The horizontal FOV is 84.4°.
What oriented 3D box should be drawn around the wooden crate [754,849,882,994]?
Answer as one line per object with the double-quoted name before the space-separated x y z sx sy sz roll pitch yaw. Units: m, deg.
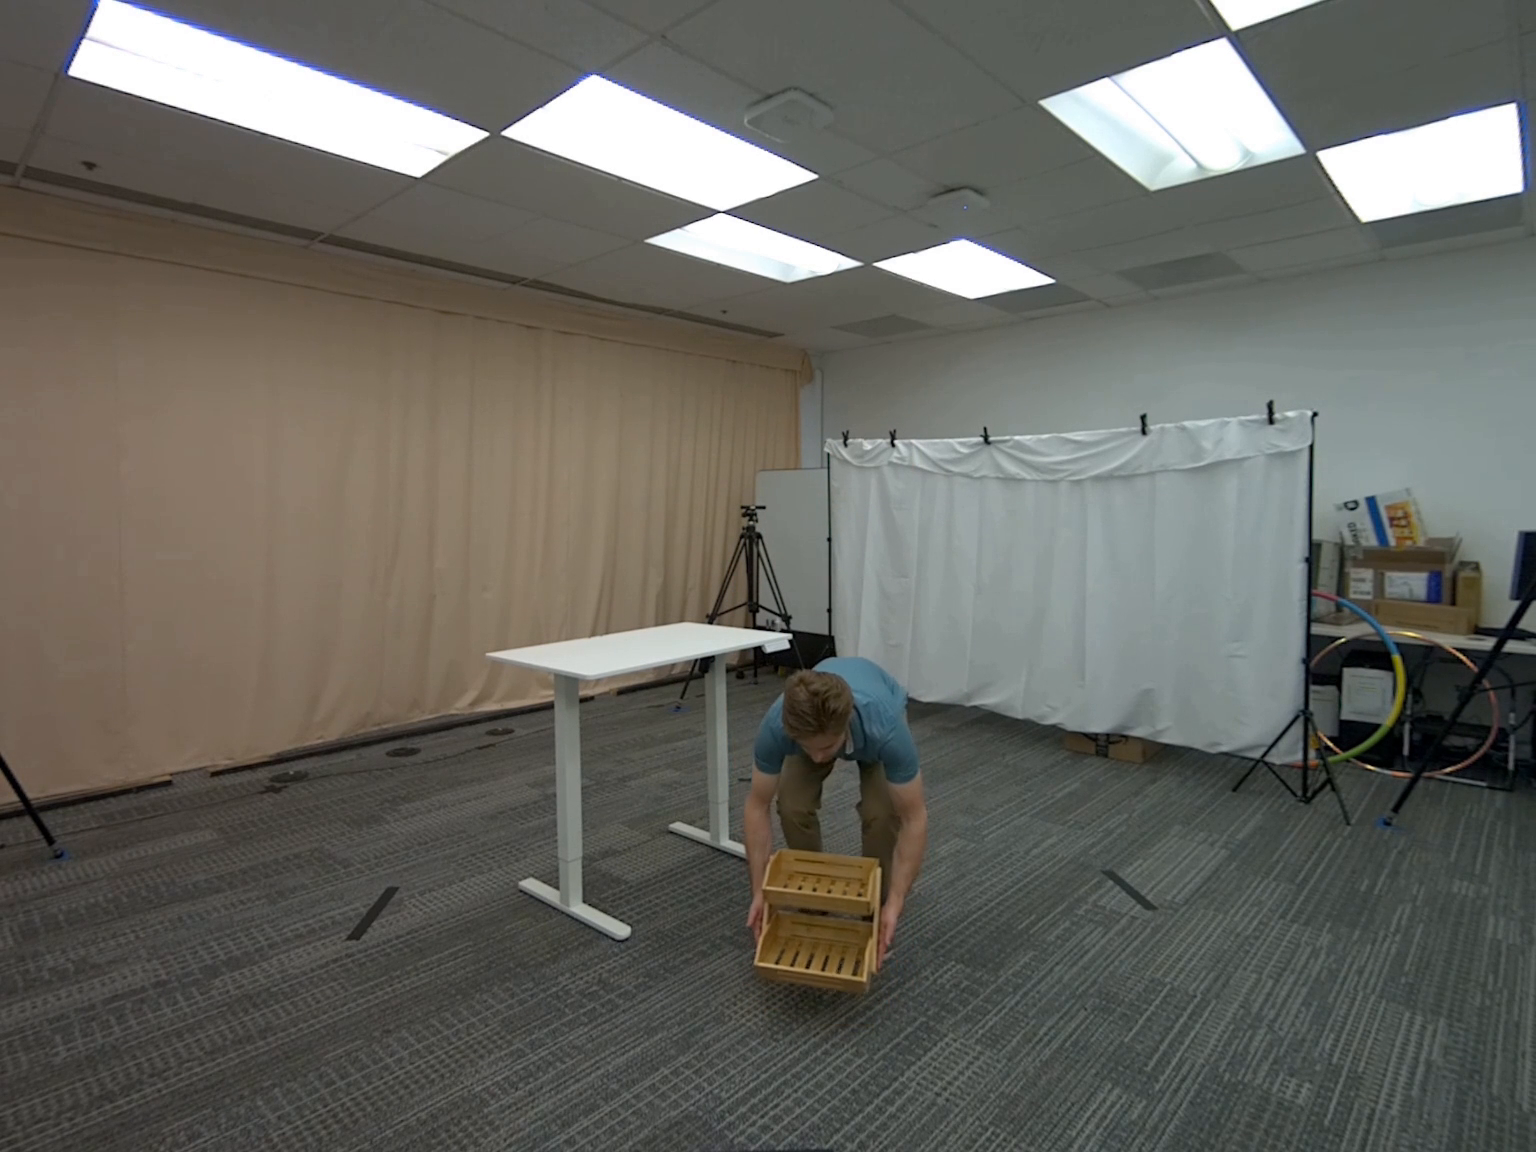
"wooden crate" 0.152 0.963 2.363 0.330 0.273 0.297 0 1 15
